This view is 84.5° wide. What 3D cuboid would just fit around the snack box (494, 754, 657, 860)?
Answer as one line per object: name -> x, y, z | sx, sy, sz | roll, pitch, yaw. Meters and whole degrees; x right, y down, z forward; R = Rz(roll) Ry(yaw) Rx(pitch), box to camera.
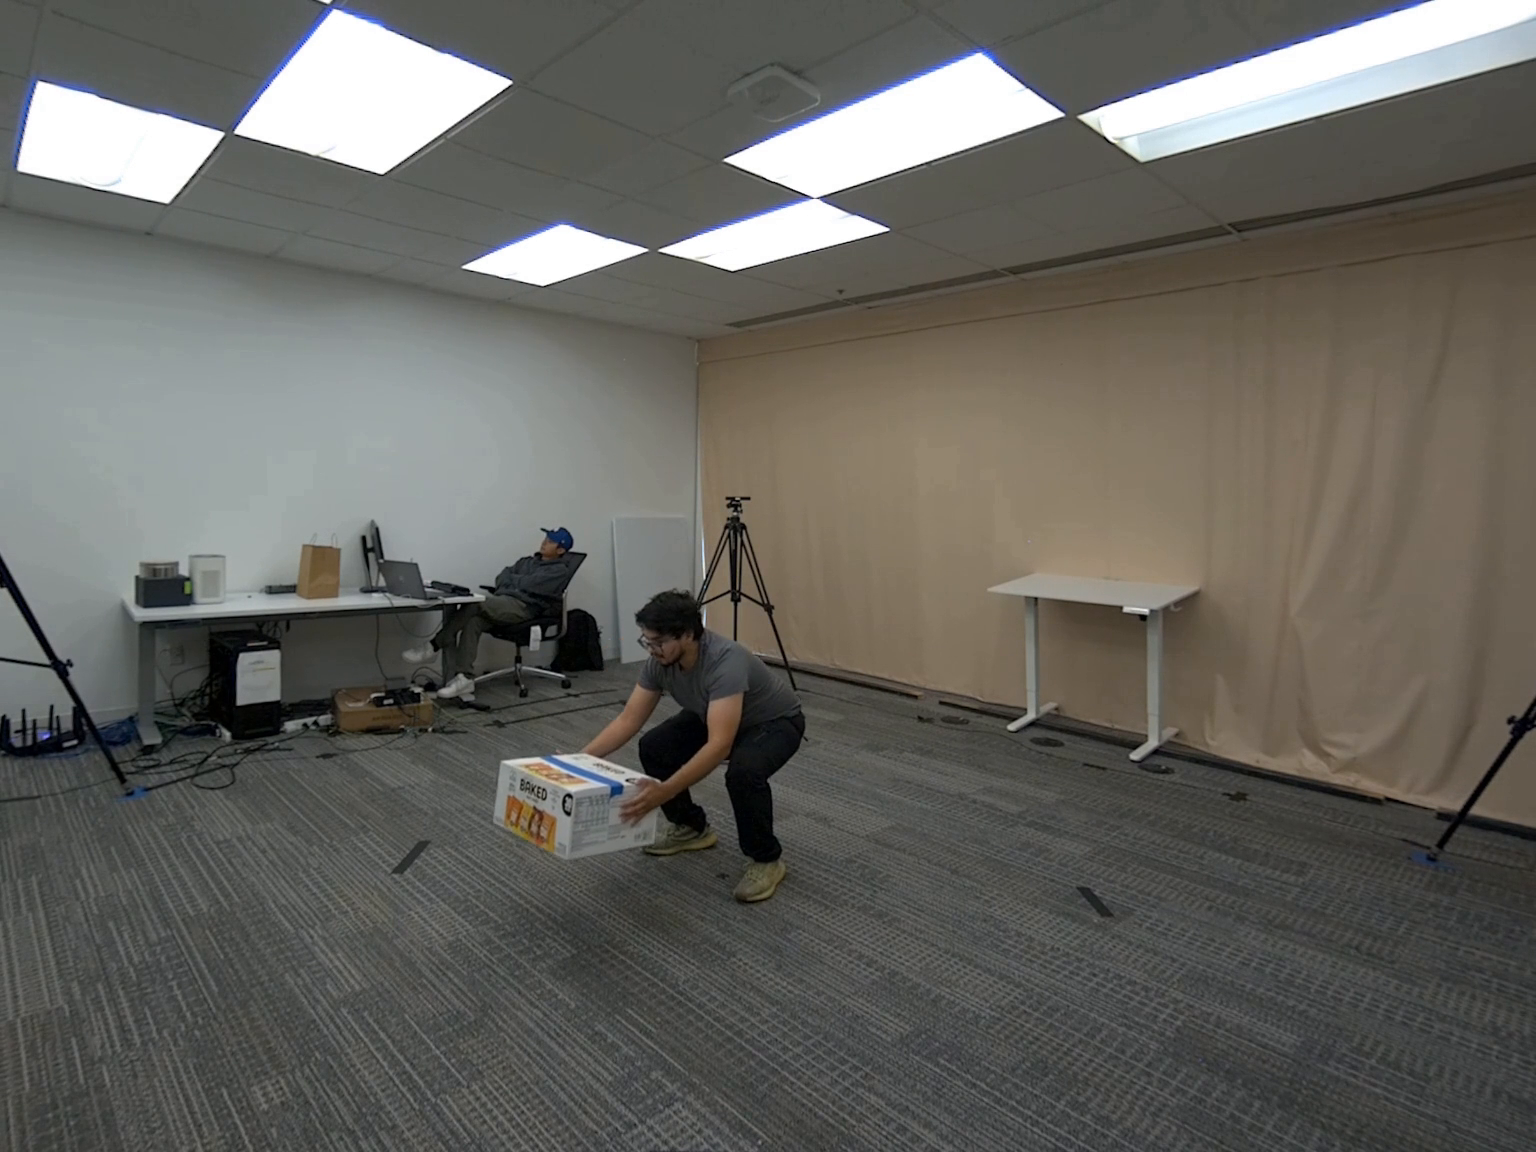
snack box -> -0.620, 0.724, 2.695 | 0.415, 0.206, 0.331 | 5, -1, 42
